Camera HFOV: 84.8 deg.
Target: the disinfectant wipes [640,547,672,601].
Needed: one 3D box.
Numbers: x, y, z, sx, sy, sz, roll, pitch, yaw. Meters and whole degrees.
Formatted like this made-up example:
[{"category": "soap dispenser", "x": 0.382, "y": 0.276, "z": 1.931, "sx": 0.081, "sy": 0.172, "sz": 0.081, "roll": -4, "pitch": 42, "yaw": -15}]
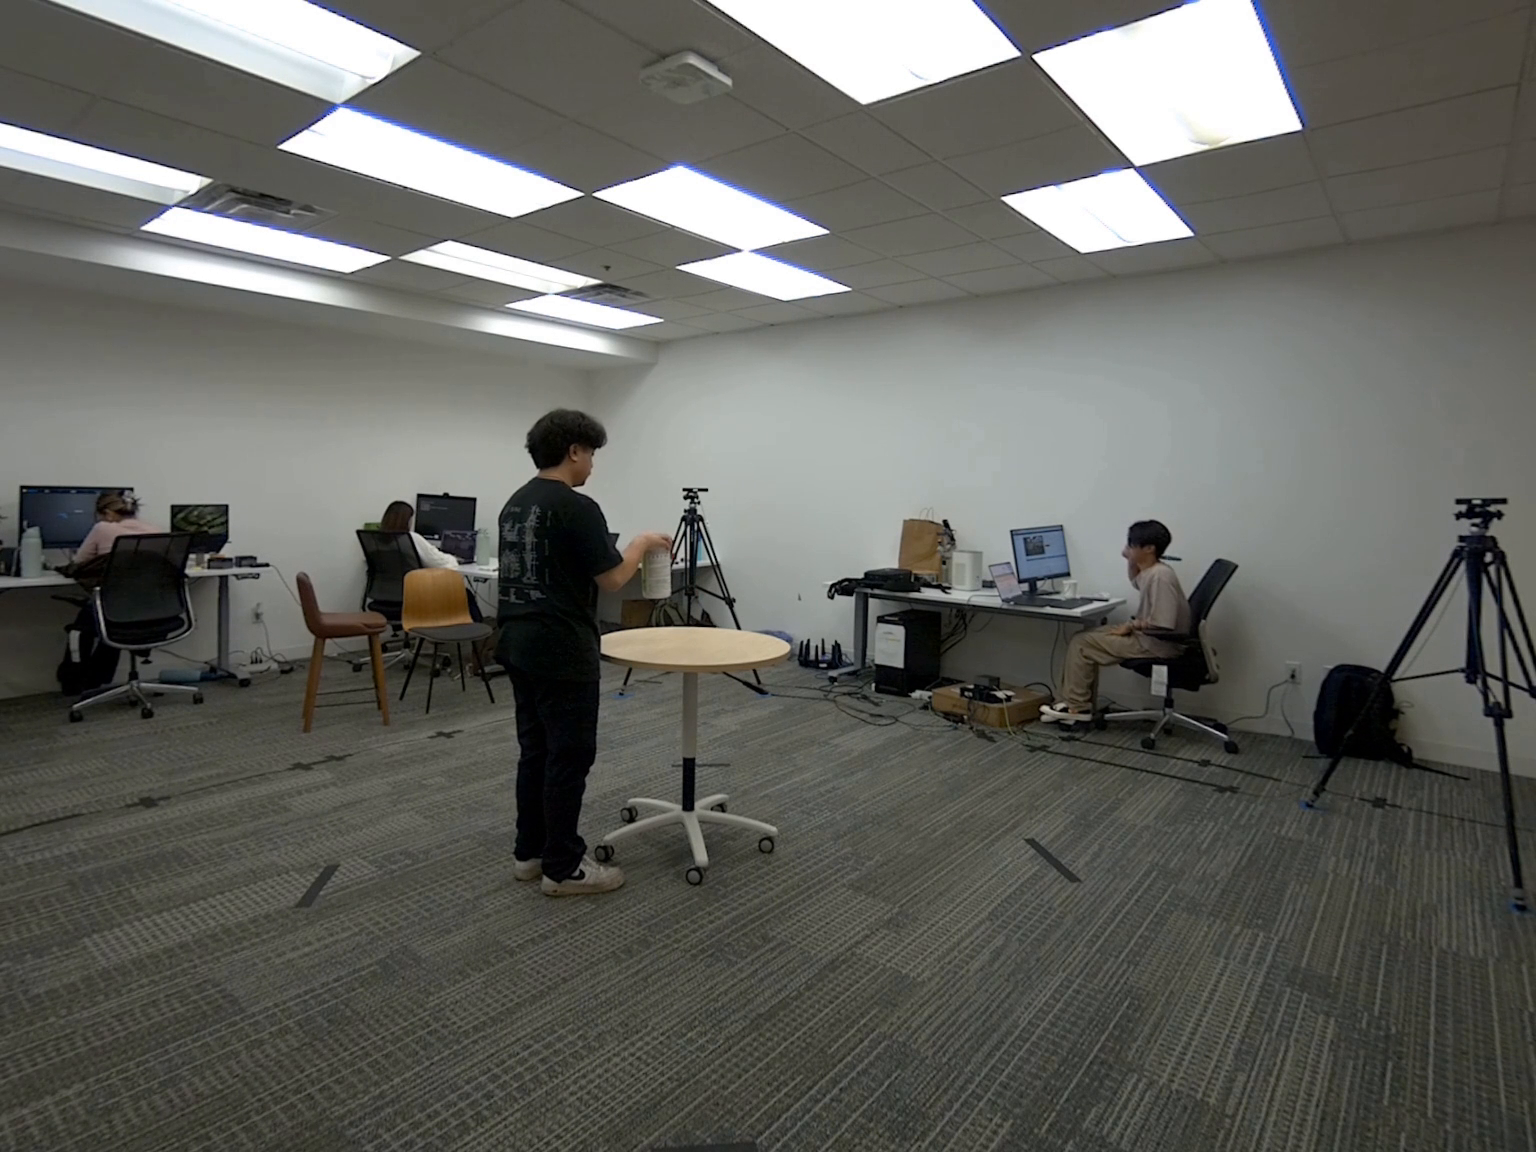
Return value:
[{"category": "disinfectant wipes", "x": -0.432, "y": -0.027, "z": 3.203, "sx": 0.118, "sy": 0.216, "sz": 0.119, "roll": -2, "pitch": 7, "yaw": -2}]
